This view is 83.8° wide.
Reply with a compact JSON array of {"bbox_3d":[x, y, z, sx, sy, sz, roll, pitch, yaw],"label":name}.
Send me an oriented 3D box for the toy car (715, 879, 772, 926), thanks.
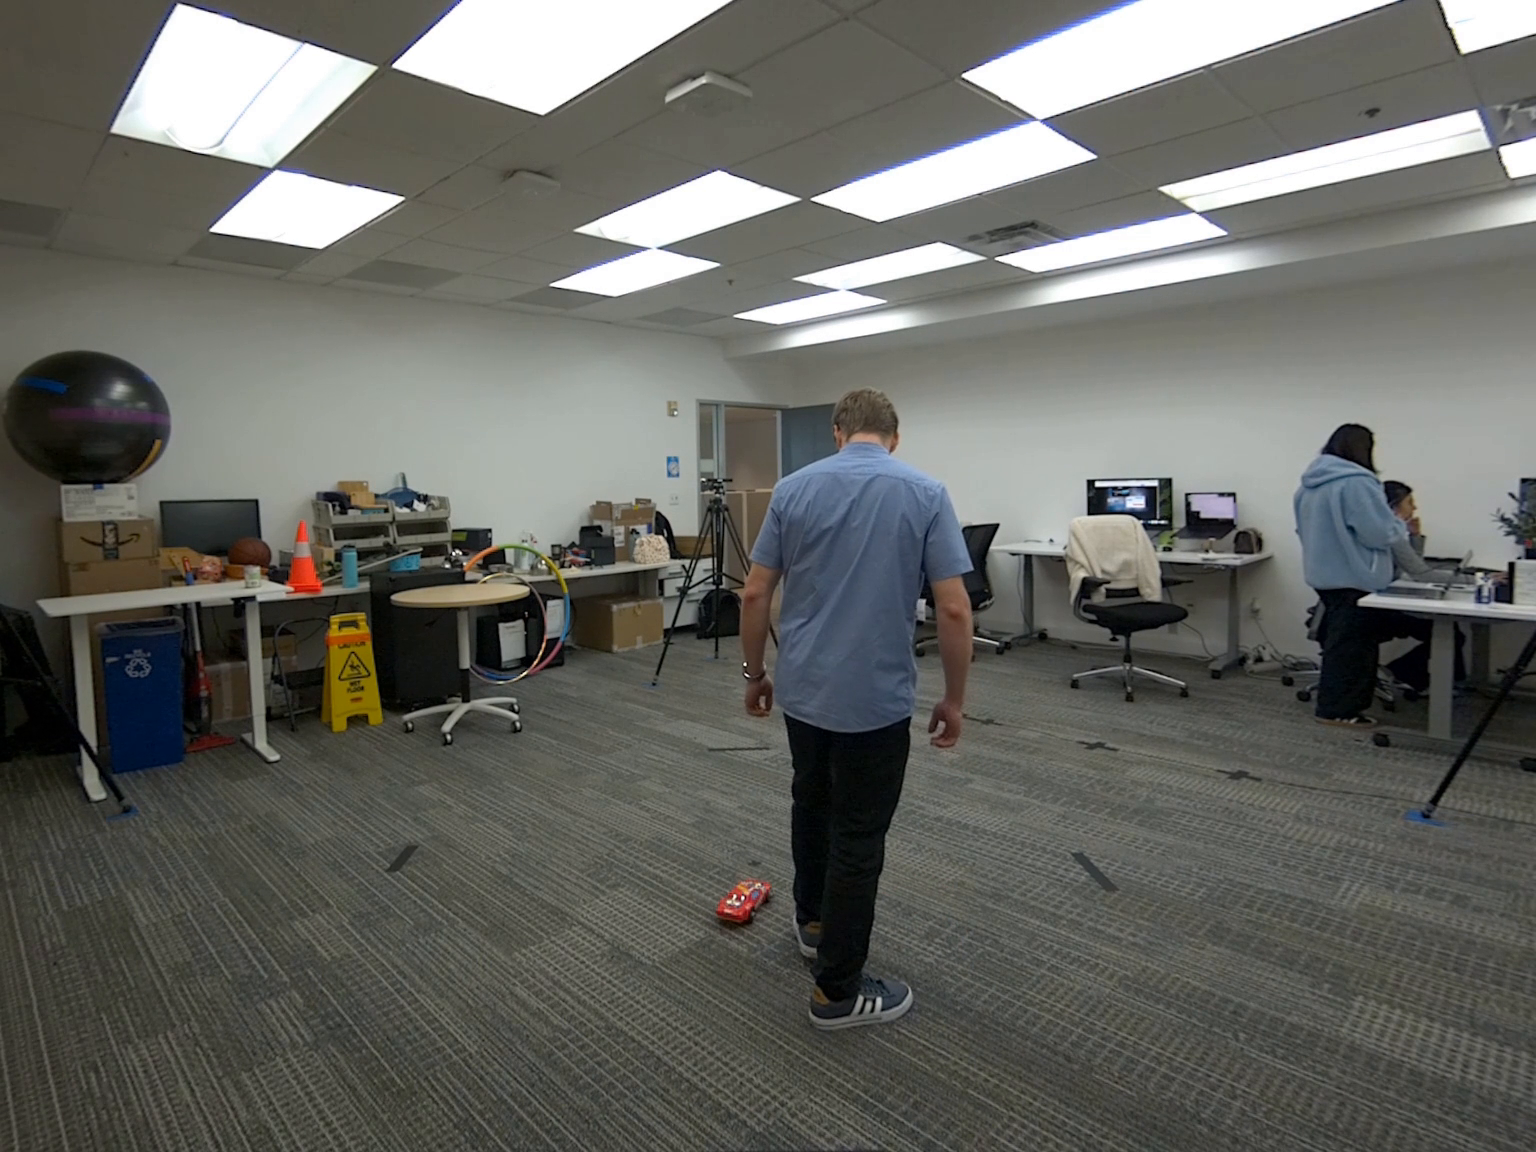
[{"bbox_3d":[-0.075,1.053,2.757,0.133,0.083,0.247,3,-4,25],"label":"toy car"}]
